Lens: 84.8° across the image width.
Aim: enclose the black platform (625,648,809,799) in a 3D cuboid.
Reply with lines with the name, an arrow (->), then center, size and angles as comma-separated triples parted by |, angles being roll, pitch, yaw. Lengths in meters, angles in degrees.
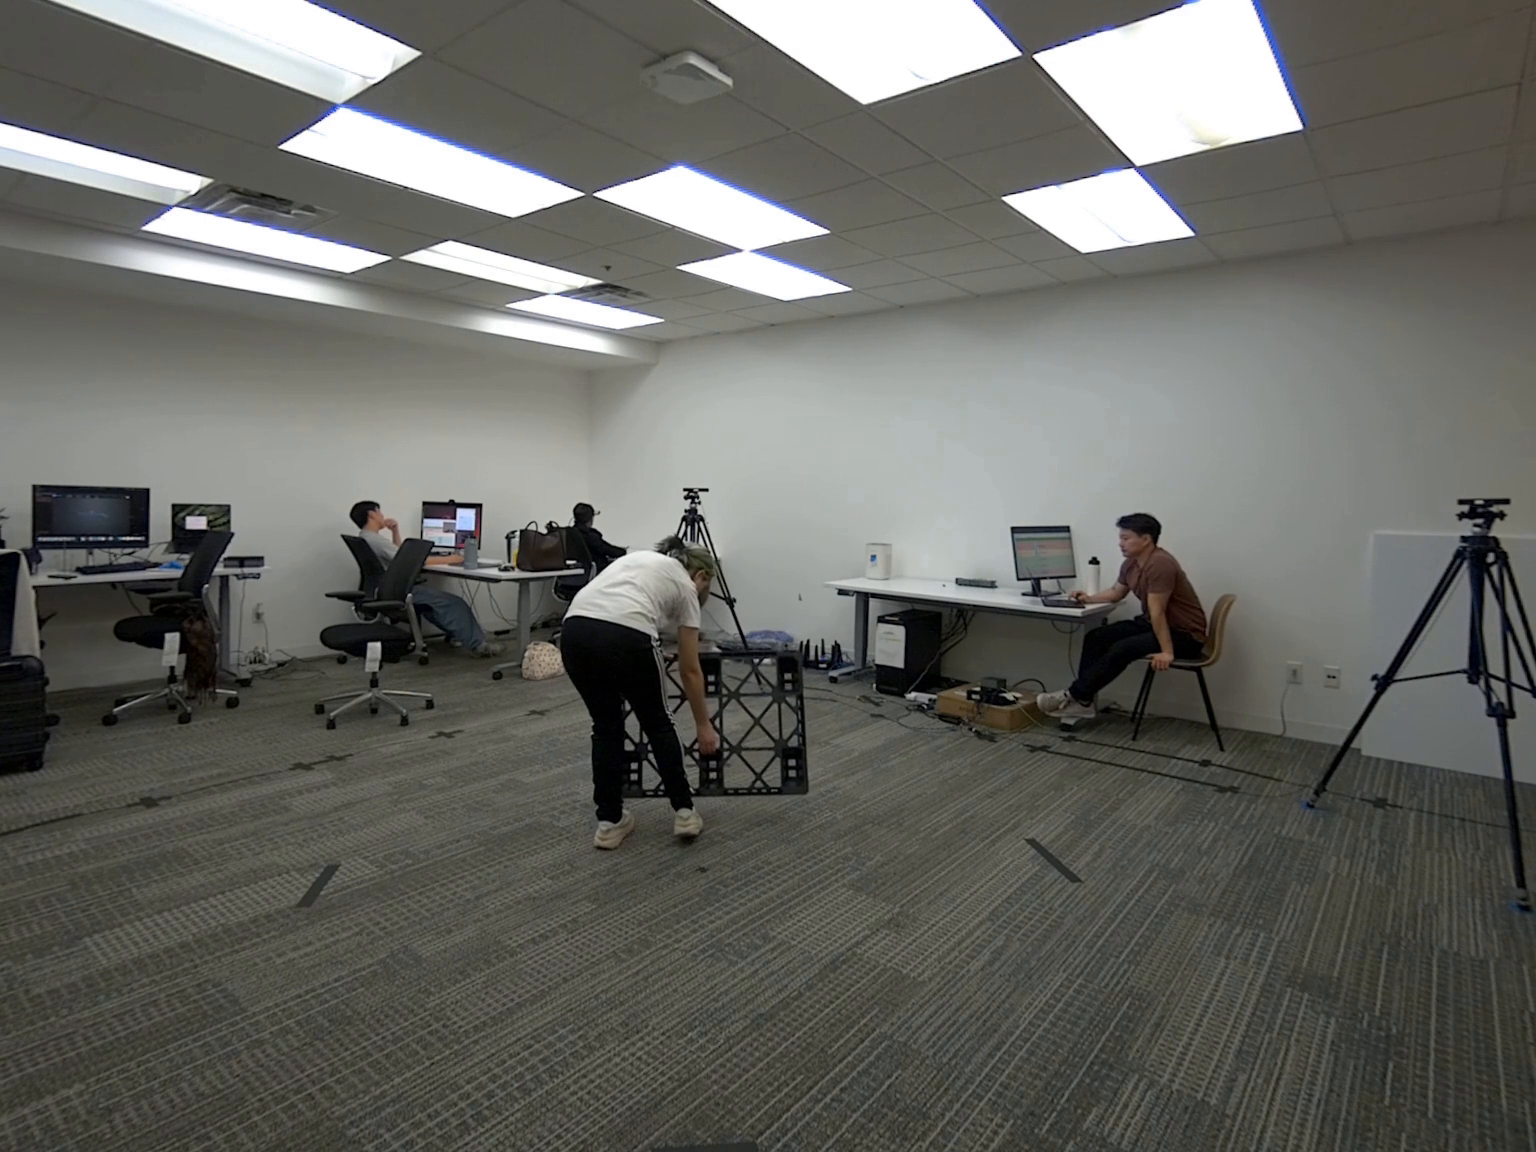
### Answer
black platform -> -0.244, 0.635, 3.655 | 0.807, 0.615, 0.141 | -2, -17, 2
